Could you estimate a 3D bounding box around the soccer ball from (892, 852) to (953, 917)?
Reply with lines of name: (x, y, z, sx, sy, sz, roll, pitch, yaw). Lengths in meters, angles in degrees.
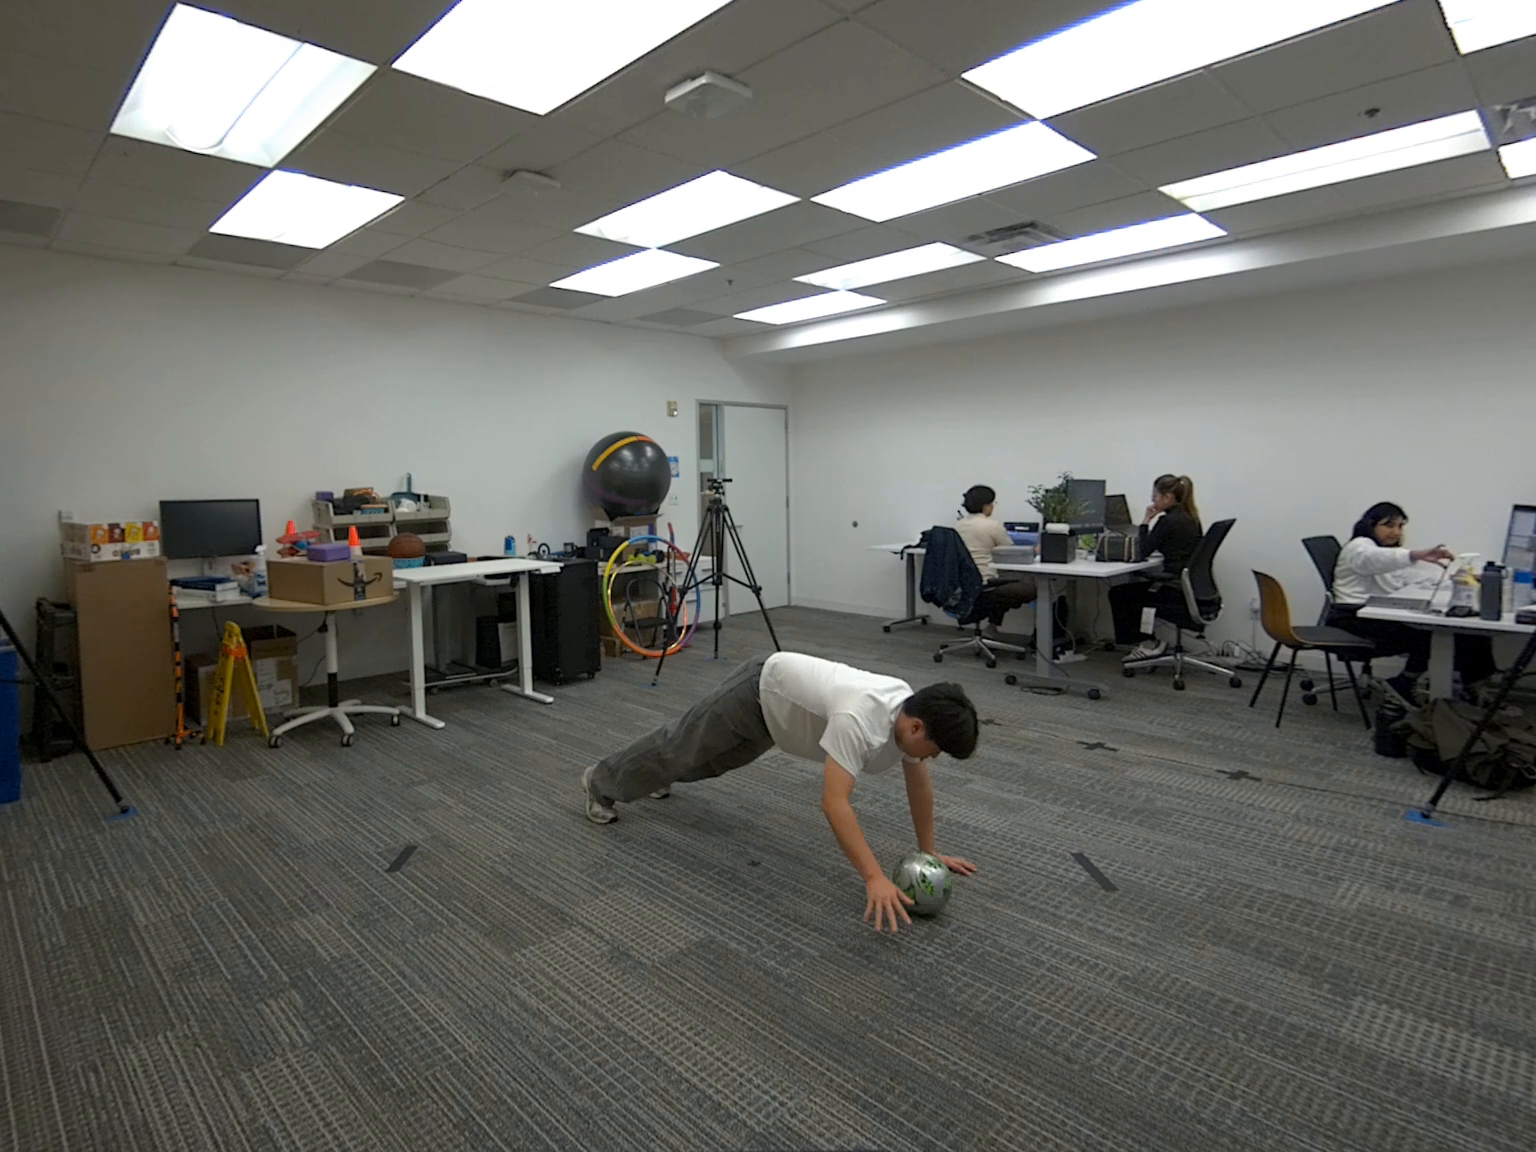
soccer ball: (0.498, 0.986, 2.737, 0.187, 0.187, 0.188, -1, 5, -2)
